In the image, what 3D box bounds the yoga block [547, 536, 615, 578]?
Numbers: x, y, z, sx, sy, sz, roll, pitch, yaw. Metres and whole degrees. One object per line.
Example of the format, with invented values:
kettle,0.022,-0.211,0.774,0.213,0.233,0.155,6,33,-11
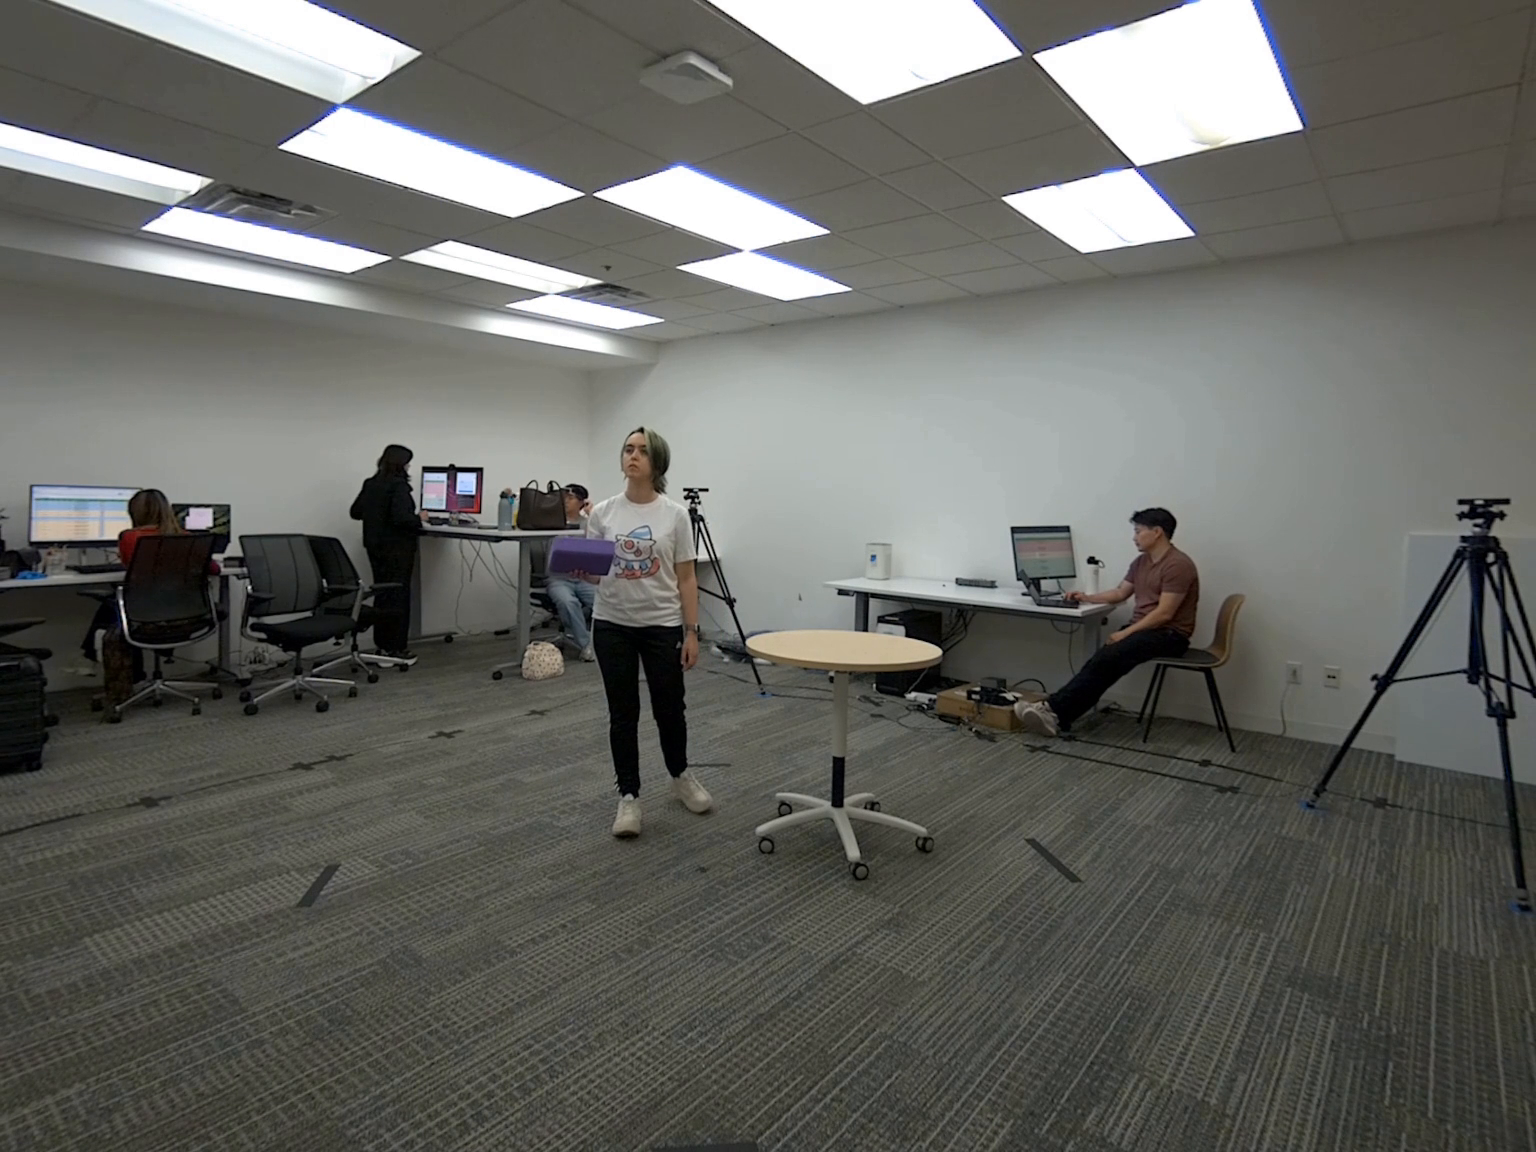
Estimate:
yoga block,-0.721,-0.076,3.212,0.226,0.079,0.146,3,-37,-14
